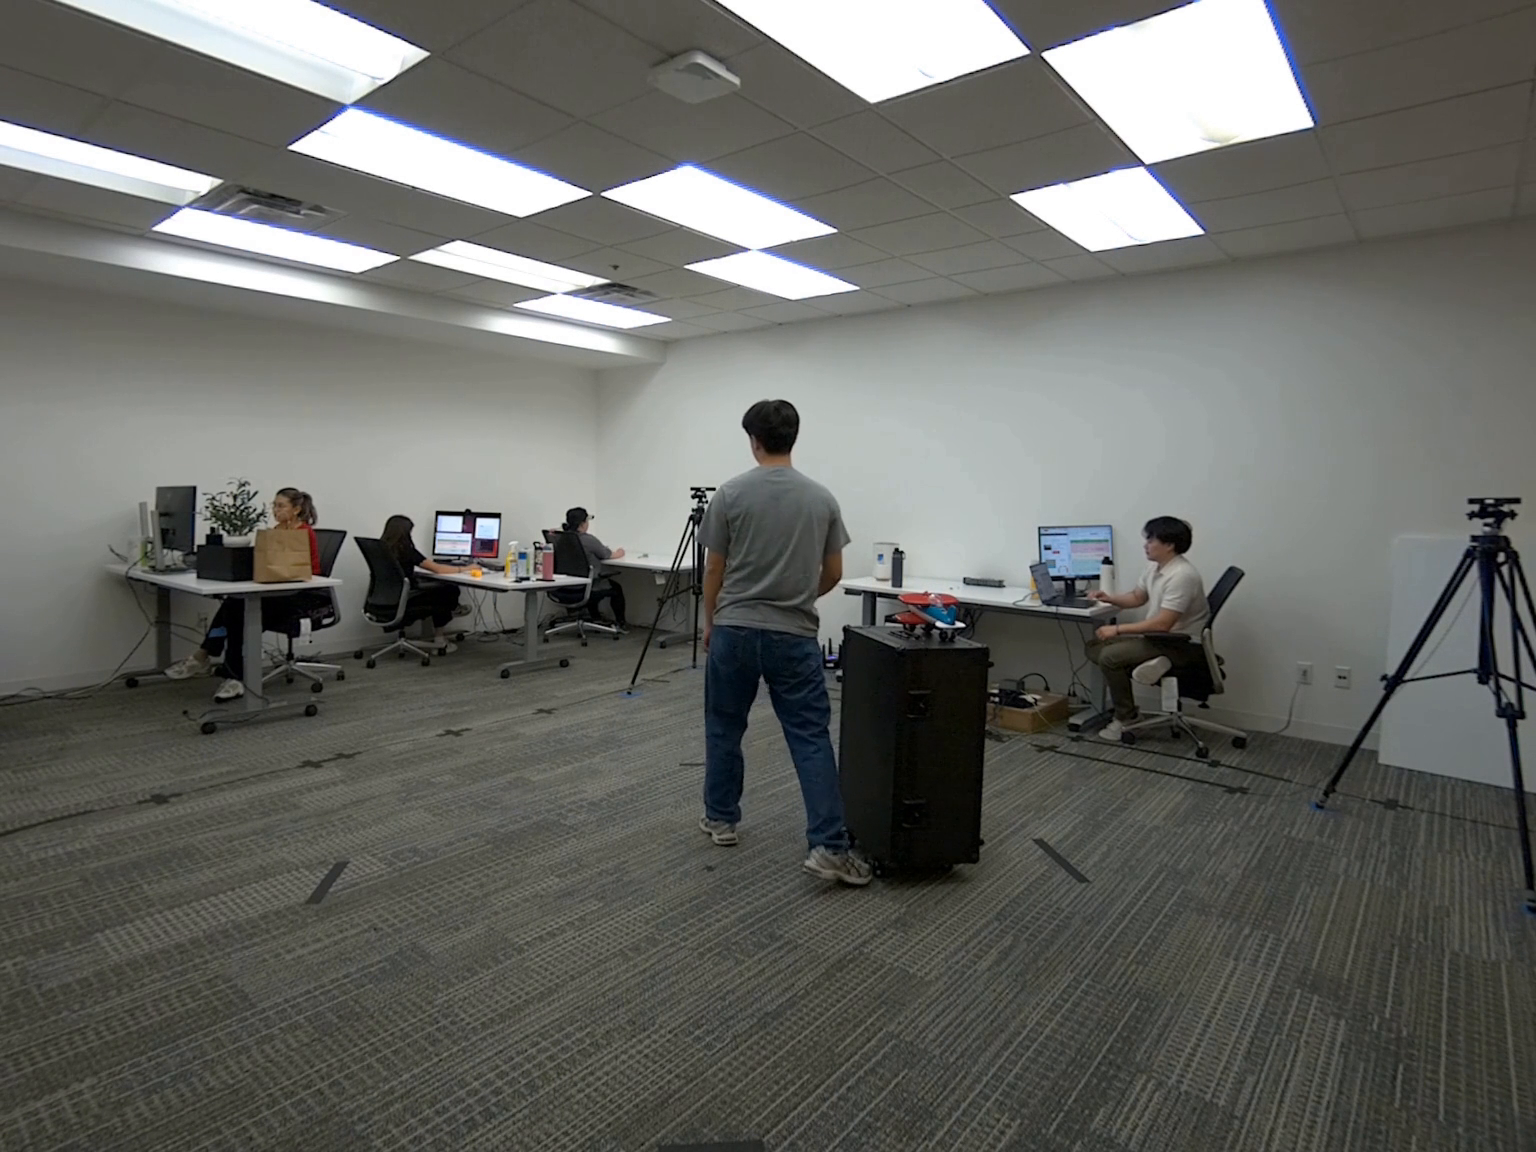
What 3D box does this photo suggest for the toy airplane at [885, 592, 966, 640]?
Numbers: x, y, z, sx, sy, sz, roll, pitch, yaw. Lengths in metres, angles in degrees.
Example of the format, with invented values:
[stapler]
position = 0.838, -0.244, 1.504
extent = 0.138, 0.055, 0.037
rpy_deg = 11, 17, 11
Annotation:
[toy airplane]
position = 0.632, 0.149, 3.233
extent = 0.268, 0.156, 0.244
rpy_deg = 5, 6, 38
